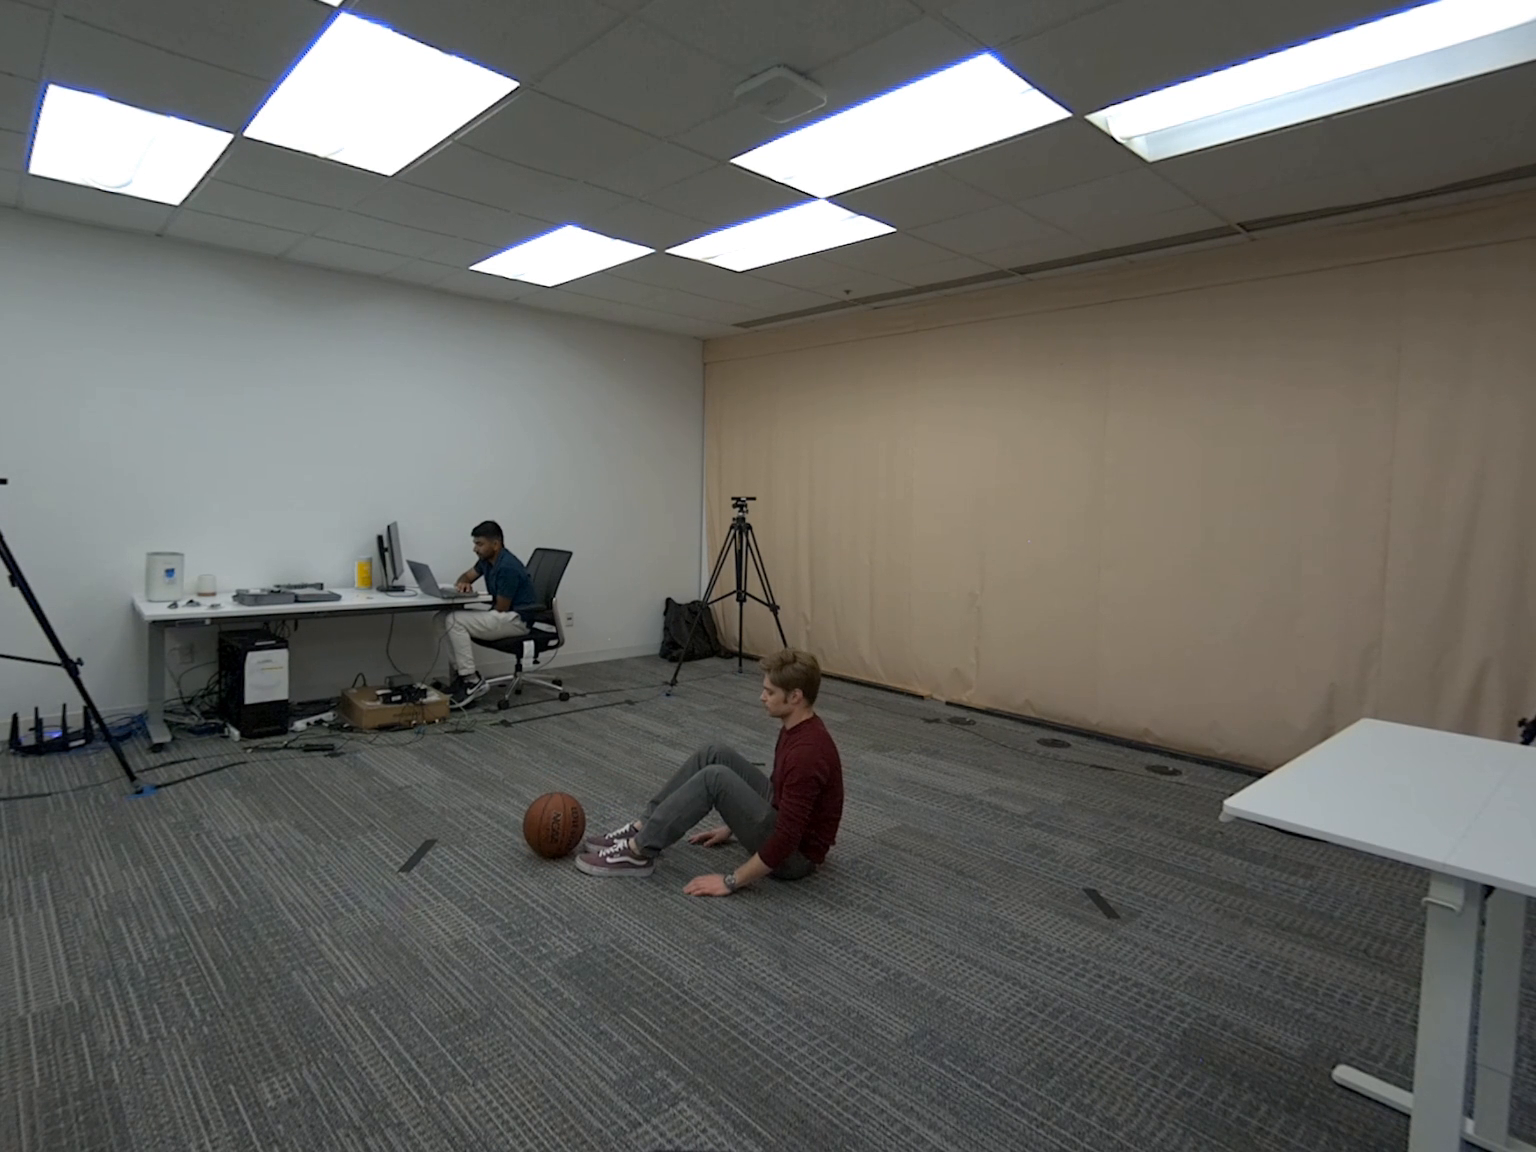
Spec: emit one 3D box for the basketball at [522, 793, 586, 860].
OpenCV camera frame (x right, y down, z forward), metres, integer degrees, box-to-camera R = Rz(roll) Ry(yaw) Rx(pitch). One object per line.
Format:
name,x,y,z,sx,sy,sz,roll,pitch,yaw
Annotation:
basketball,-0.827,0.953,3.252,0.236,0.235,0.237,1,4,-1
